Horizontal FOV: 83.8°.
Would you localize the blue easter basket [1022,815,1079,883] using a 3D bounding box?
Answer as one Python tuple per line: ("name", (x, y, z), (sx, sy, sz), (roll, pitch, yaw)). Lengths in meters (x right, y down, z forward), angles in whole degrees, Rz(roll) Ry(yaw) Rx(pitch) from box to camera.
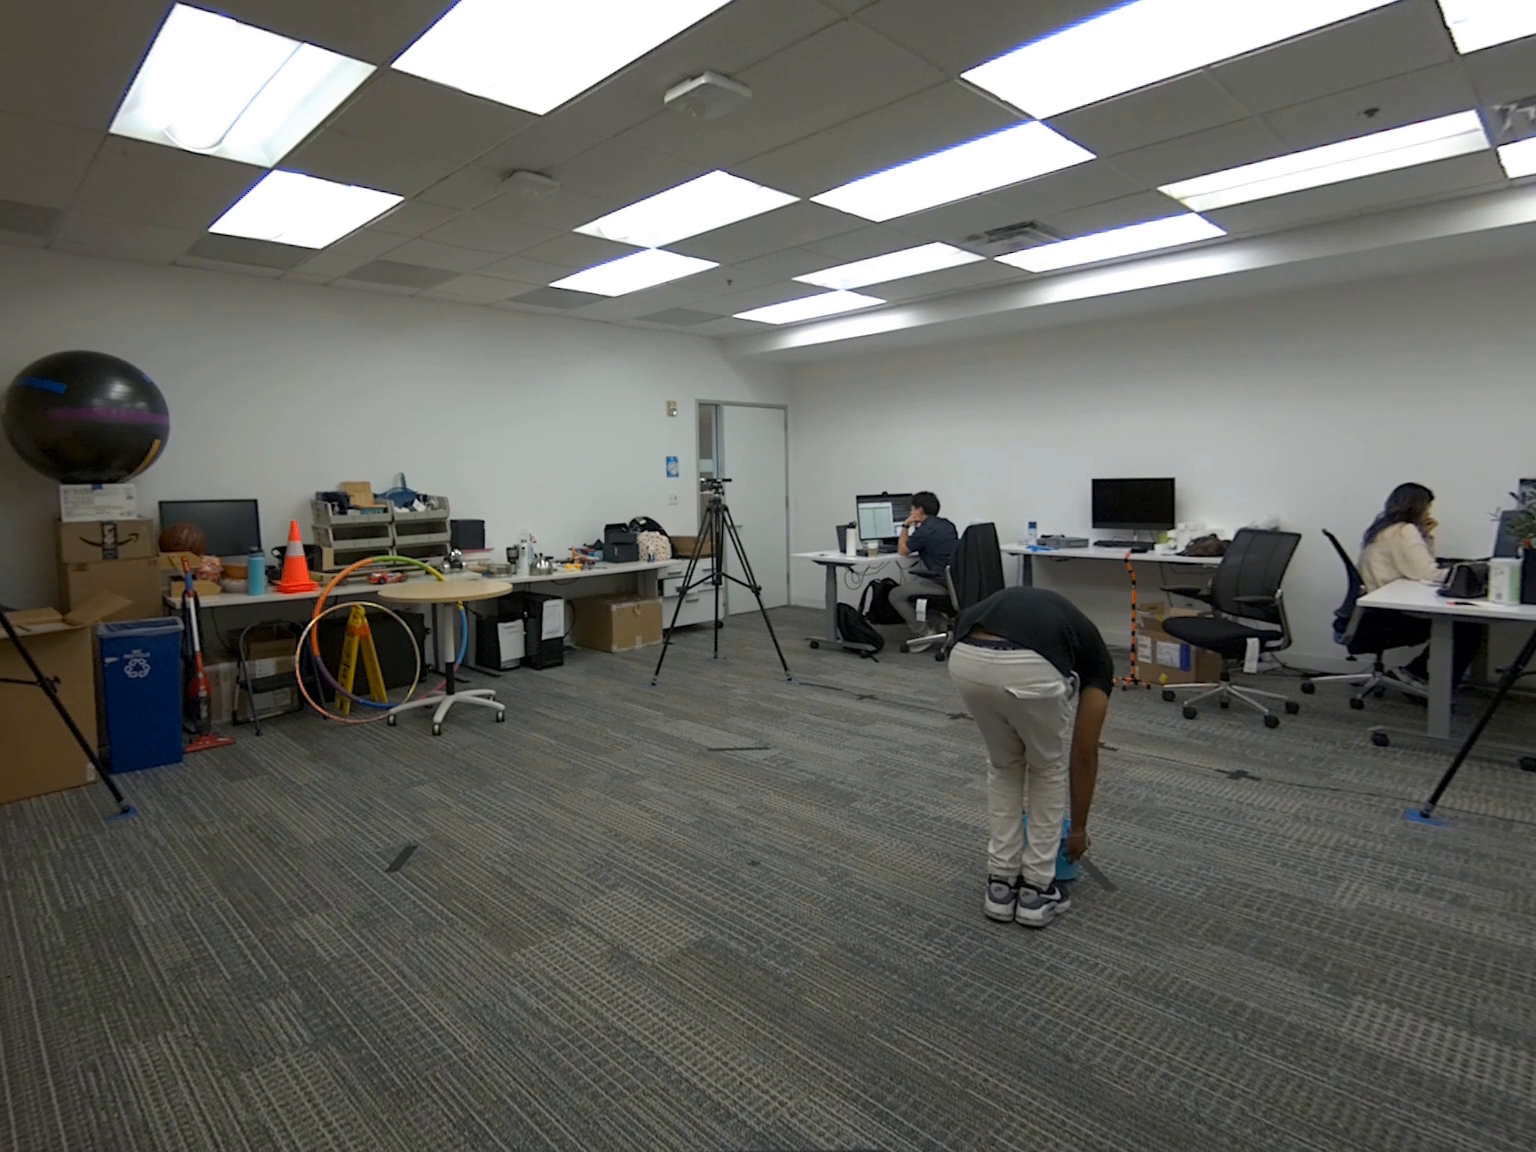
("blue easter basket", (1.014, 0.954, 2.987), (0.243, 0.155, 0.244), (5, 4, -2))
